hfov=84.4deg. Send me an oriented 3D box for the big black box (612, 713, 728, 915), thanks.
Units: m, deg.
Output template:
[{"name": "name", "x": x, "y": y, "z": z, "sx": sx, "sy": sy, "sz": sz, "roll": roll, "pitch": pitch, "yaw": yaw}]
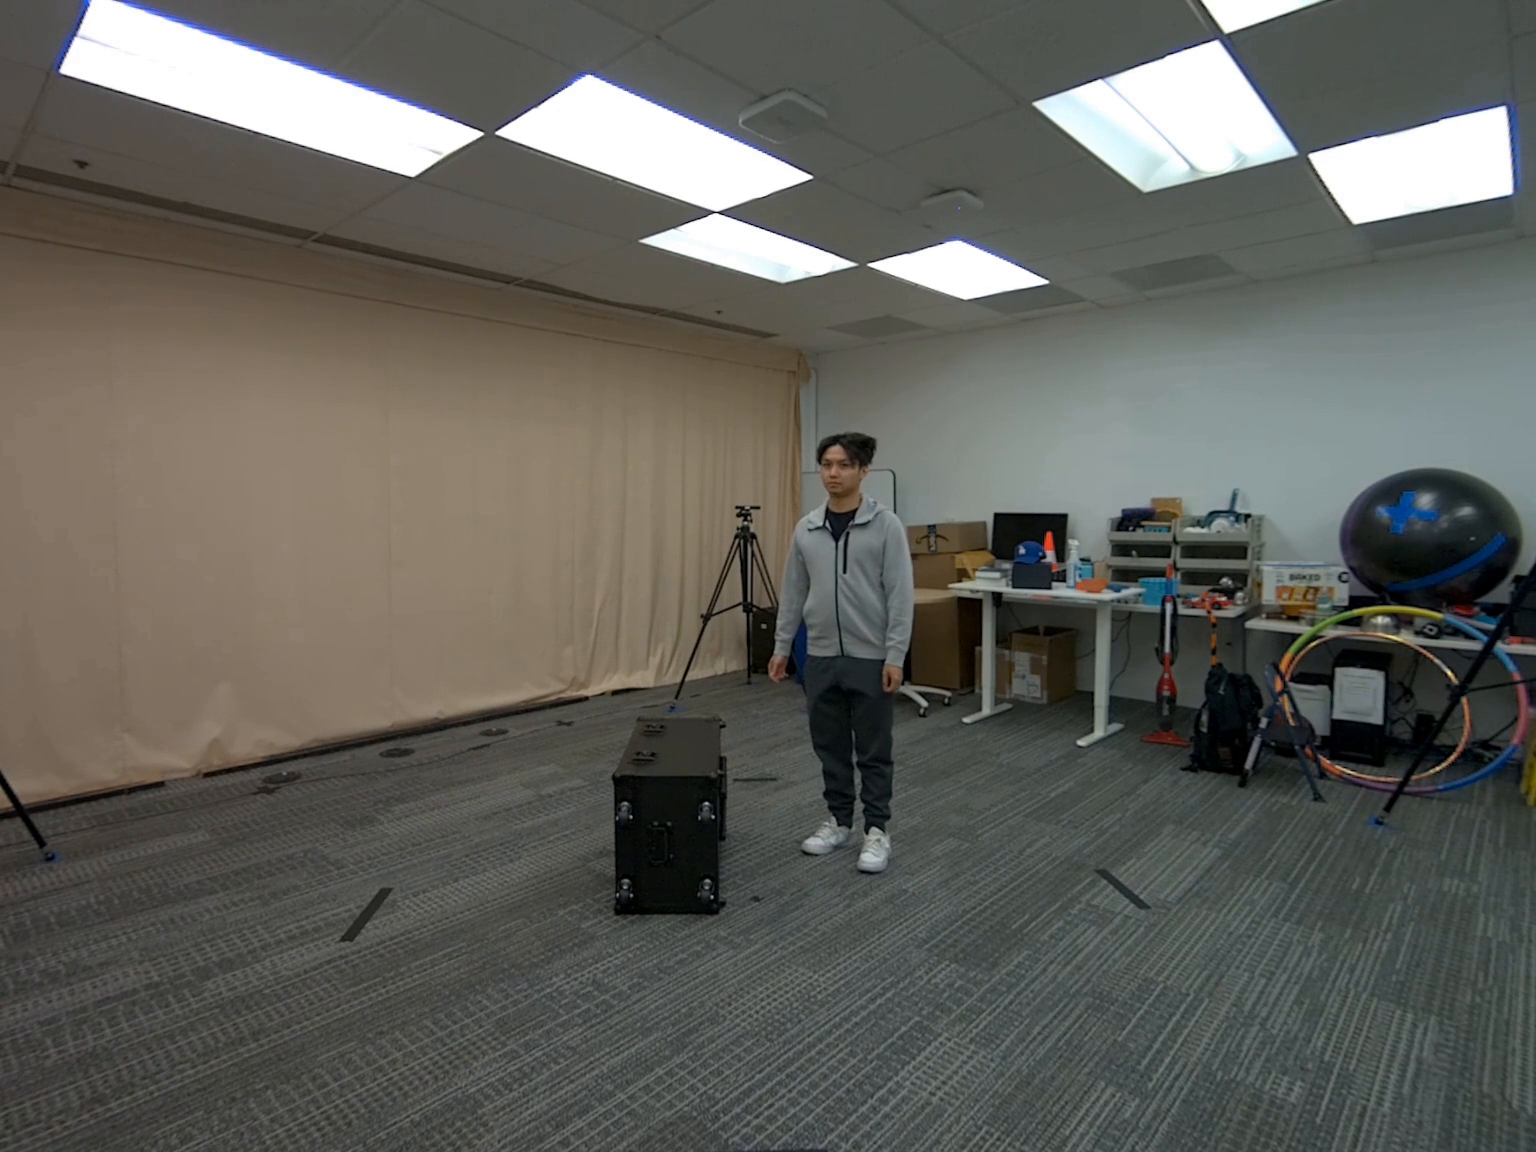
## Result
[{"name": "big black box", "x": -0.348, "y": 0.883, "z": 3.211, "sx": 0.396, "sy": 0.520, "sz": 0.863, "roll": 0, "pitch": 4, "yaw": -1}]
